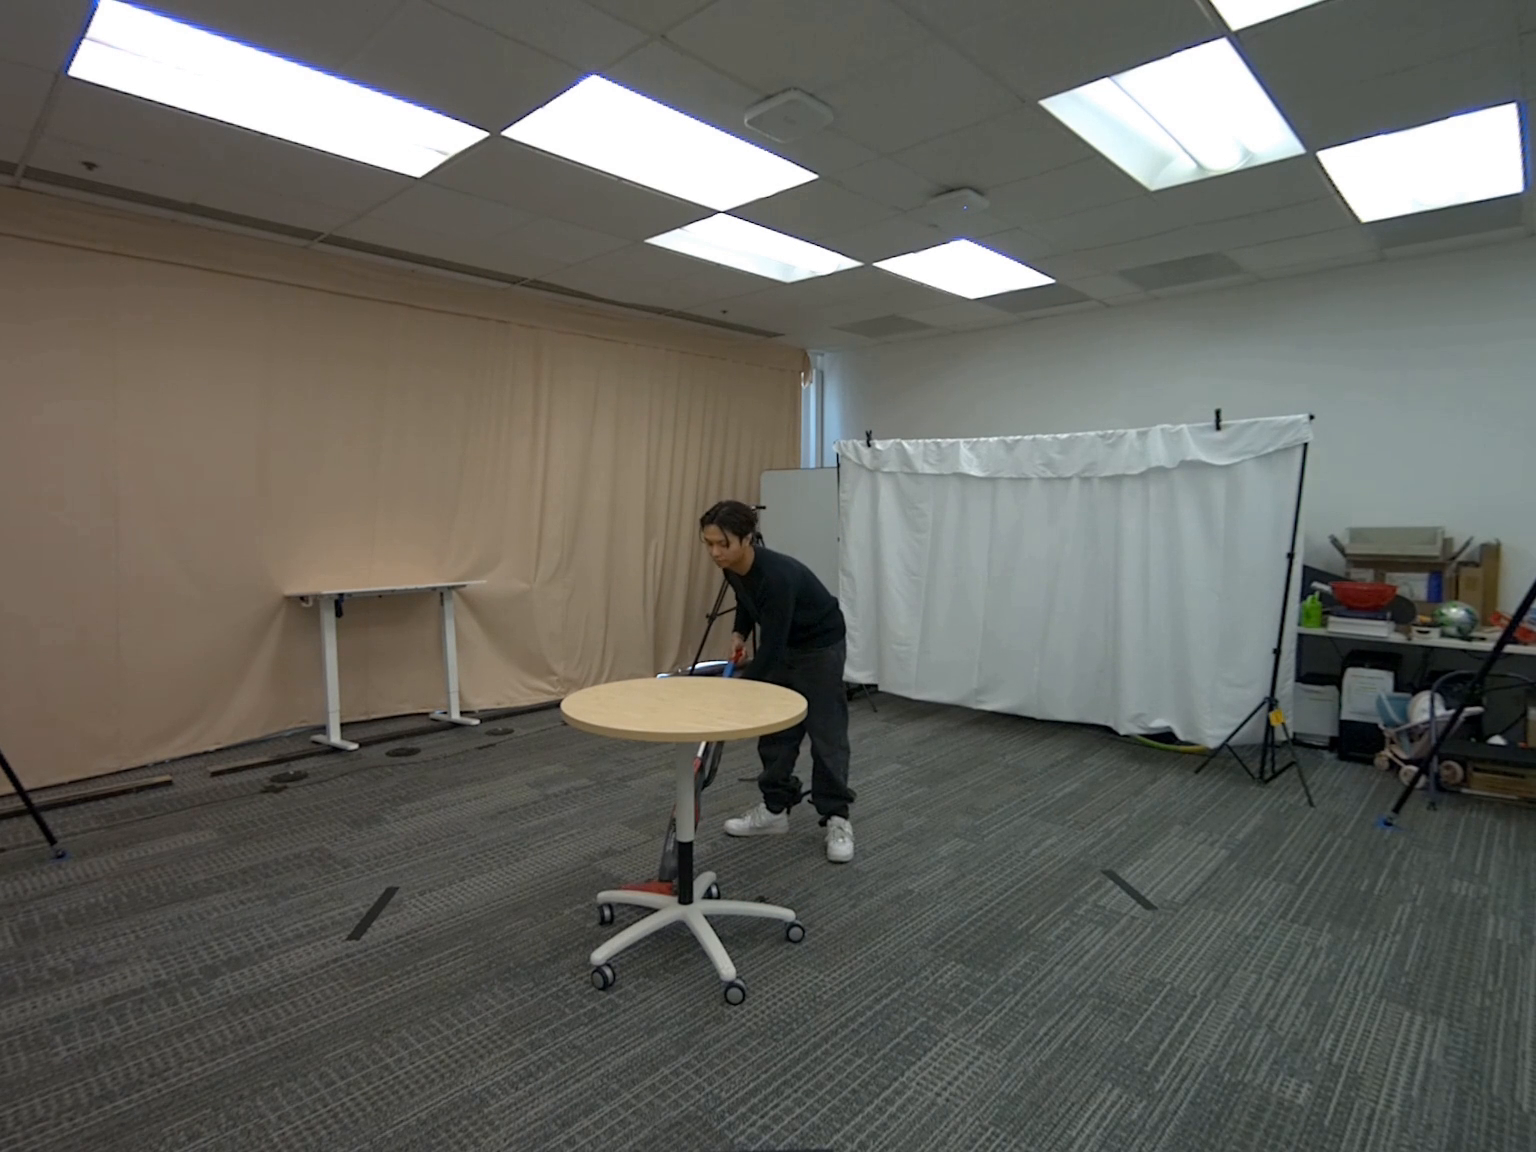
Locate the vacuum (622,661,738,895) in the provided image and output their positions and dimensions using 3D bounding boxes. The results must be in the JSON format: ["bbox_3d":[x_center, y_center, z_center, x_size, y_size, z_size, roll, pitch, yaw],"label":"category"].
[{"bbox_3d":[-0.255,0.730,3.262,0.259,1.055,0.140,1,-41,23],"label":"vacuum"}]
